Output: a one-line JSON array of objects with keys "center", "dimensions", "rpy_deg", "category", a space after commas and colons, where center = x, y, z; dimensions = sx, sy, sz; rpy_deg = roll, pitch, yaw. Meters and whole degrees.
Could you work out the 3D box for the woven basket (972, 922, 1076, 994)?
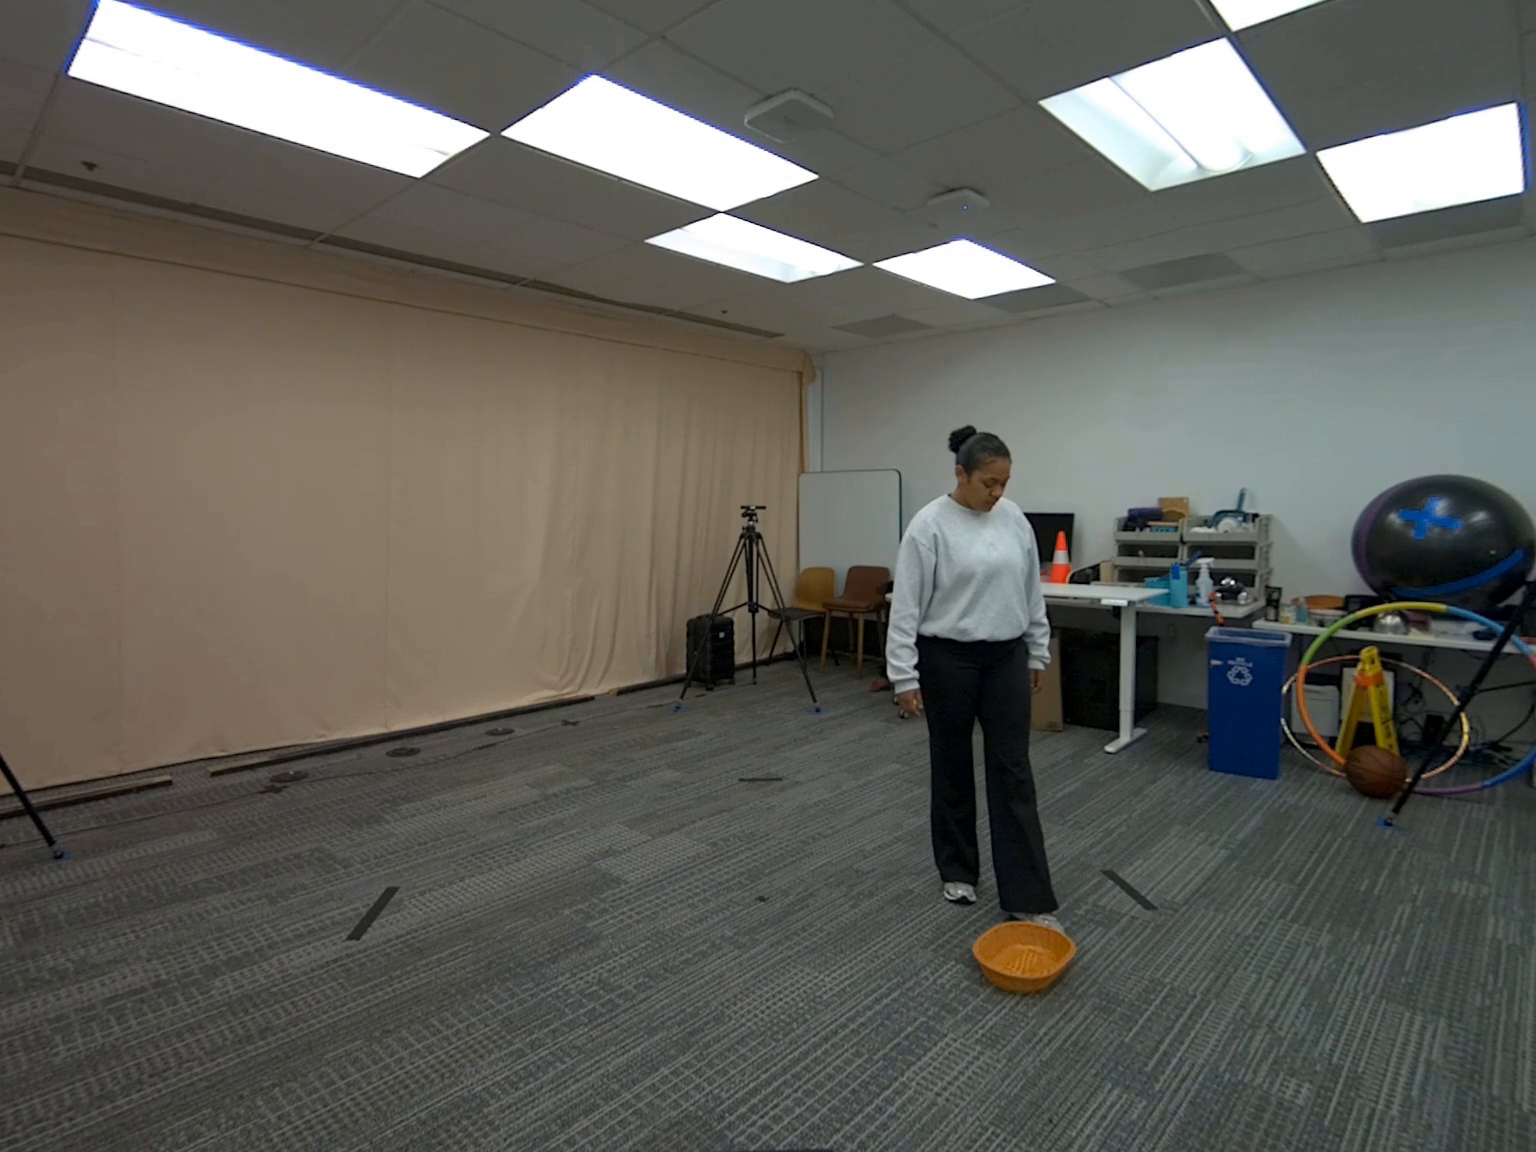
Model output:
[{"center": [0.780, 1.141, 2.543], "dimensions": [0.340, 0.073, 0.261], "rpy_deg": [-5, 6, -43], "category": "woven basket"}]
